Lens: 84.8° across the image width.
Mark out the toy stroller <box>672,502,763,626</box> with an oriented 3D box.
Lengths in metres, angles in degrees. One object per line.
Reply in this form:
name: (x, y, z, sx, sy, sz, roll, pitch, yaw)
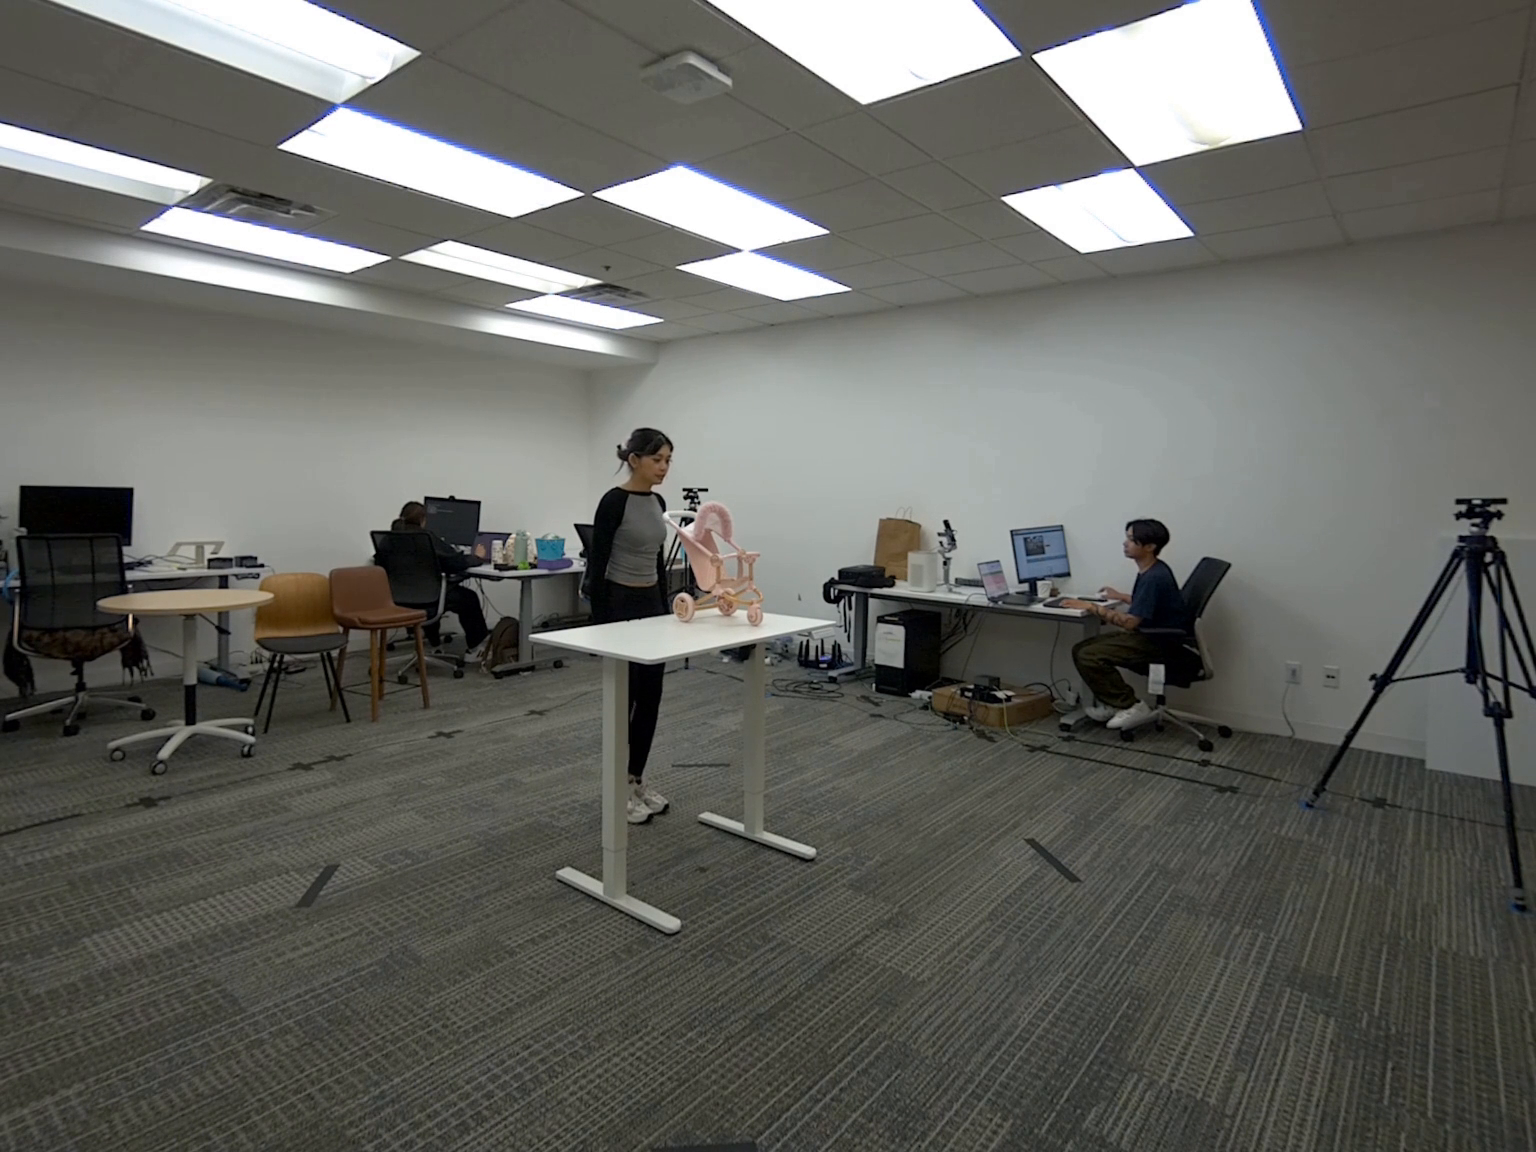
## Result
toy stroller: (-0.203, -0.053, 3.276, 0.273, 0.541, 0.348, -3, -13, -45)
